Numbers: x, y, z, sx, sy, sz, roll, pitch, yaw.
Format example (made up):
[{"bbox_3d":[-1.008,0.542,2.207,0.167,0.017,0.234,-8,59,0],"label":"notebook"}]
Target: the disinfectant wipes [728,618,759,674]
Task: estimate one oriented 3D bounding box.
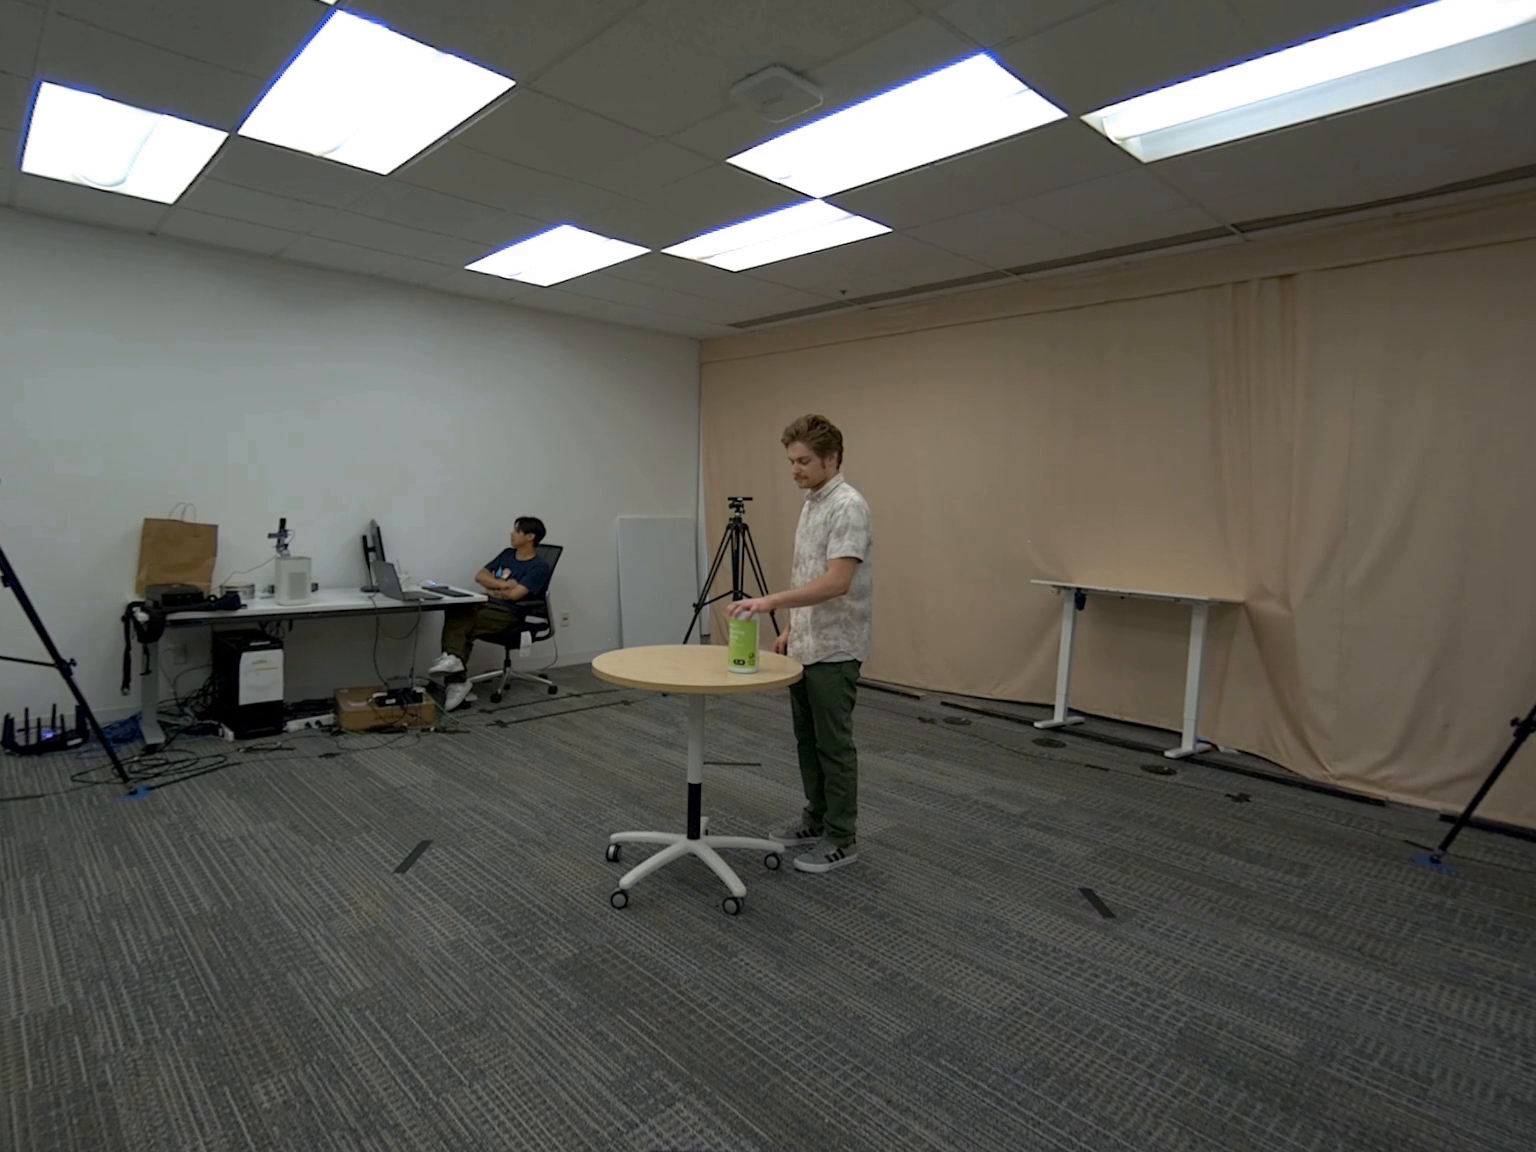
[{"bbox_3d":[-0.085,0.227,2.944,0.118,0.217,0.118,2,4,-2],"label":"disinfectant wipes"}]
